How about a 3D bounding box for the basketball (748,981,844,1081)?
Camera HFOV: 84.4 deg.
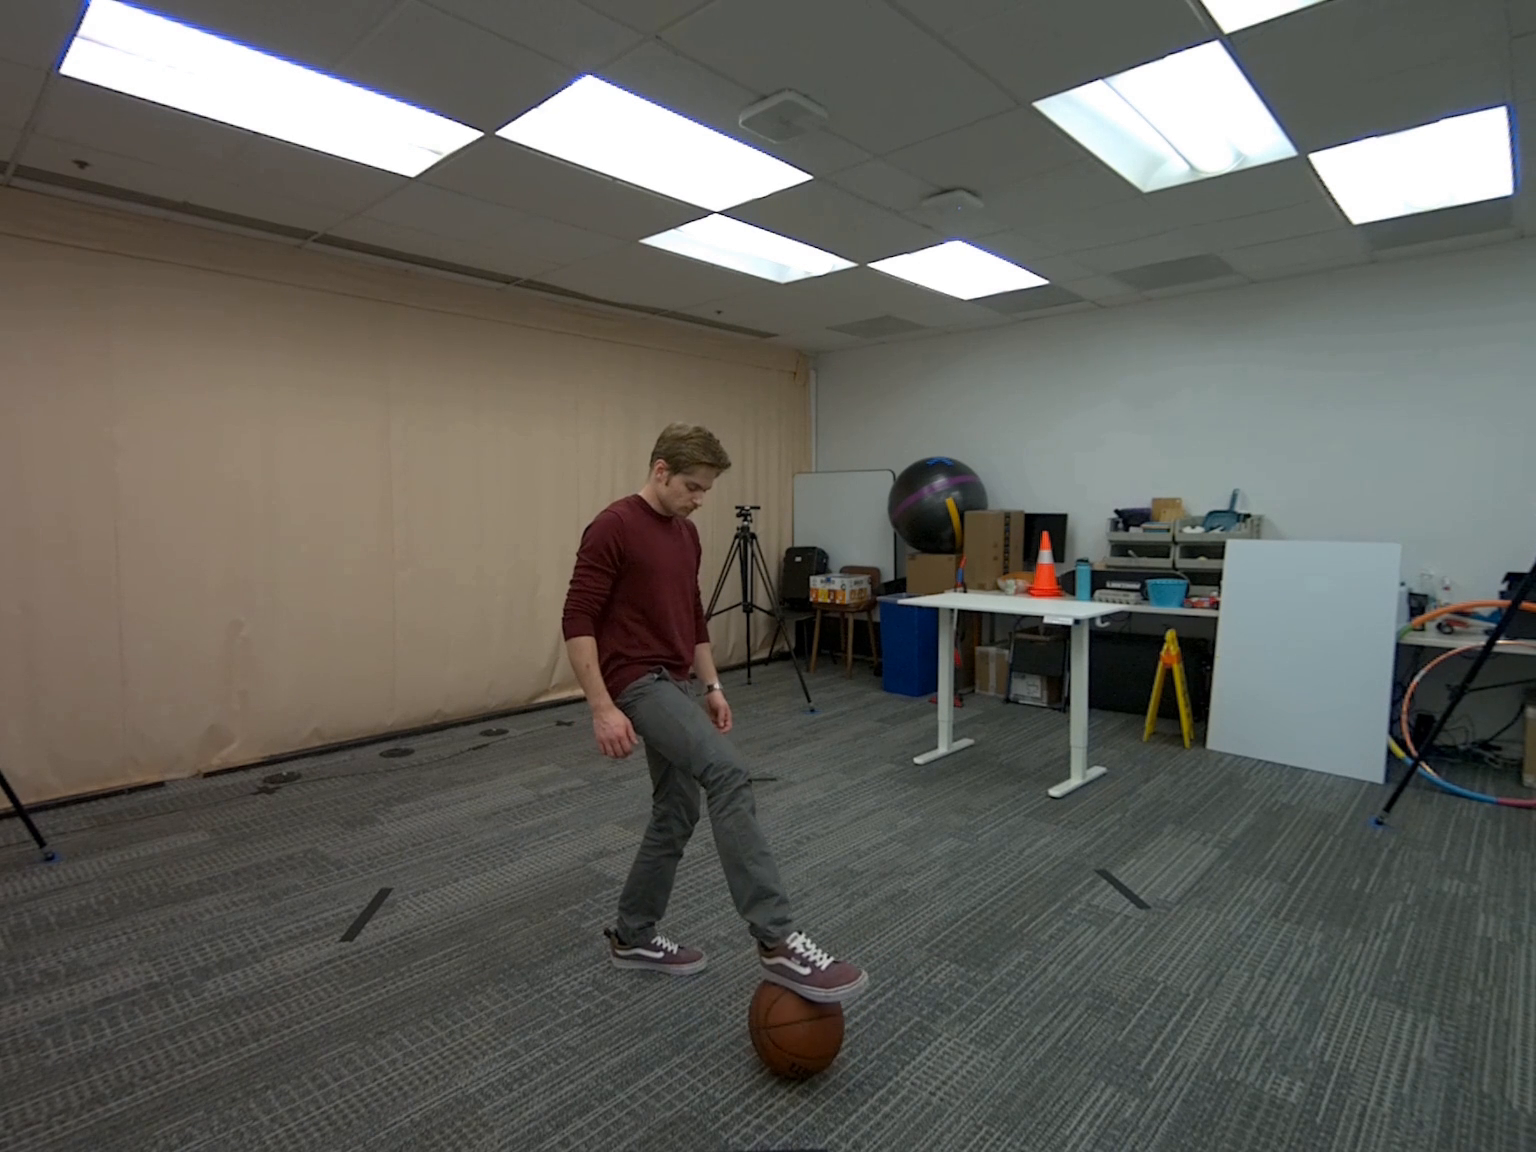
[{"bbox_3d":[0.071,1.104,2.079,0.236,0.235,0.237,0,4,-2],"label":"basketball"}]
